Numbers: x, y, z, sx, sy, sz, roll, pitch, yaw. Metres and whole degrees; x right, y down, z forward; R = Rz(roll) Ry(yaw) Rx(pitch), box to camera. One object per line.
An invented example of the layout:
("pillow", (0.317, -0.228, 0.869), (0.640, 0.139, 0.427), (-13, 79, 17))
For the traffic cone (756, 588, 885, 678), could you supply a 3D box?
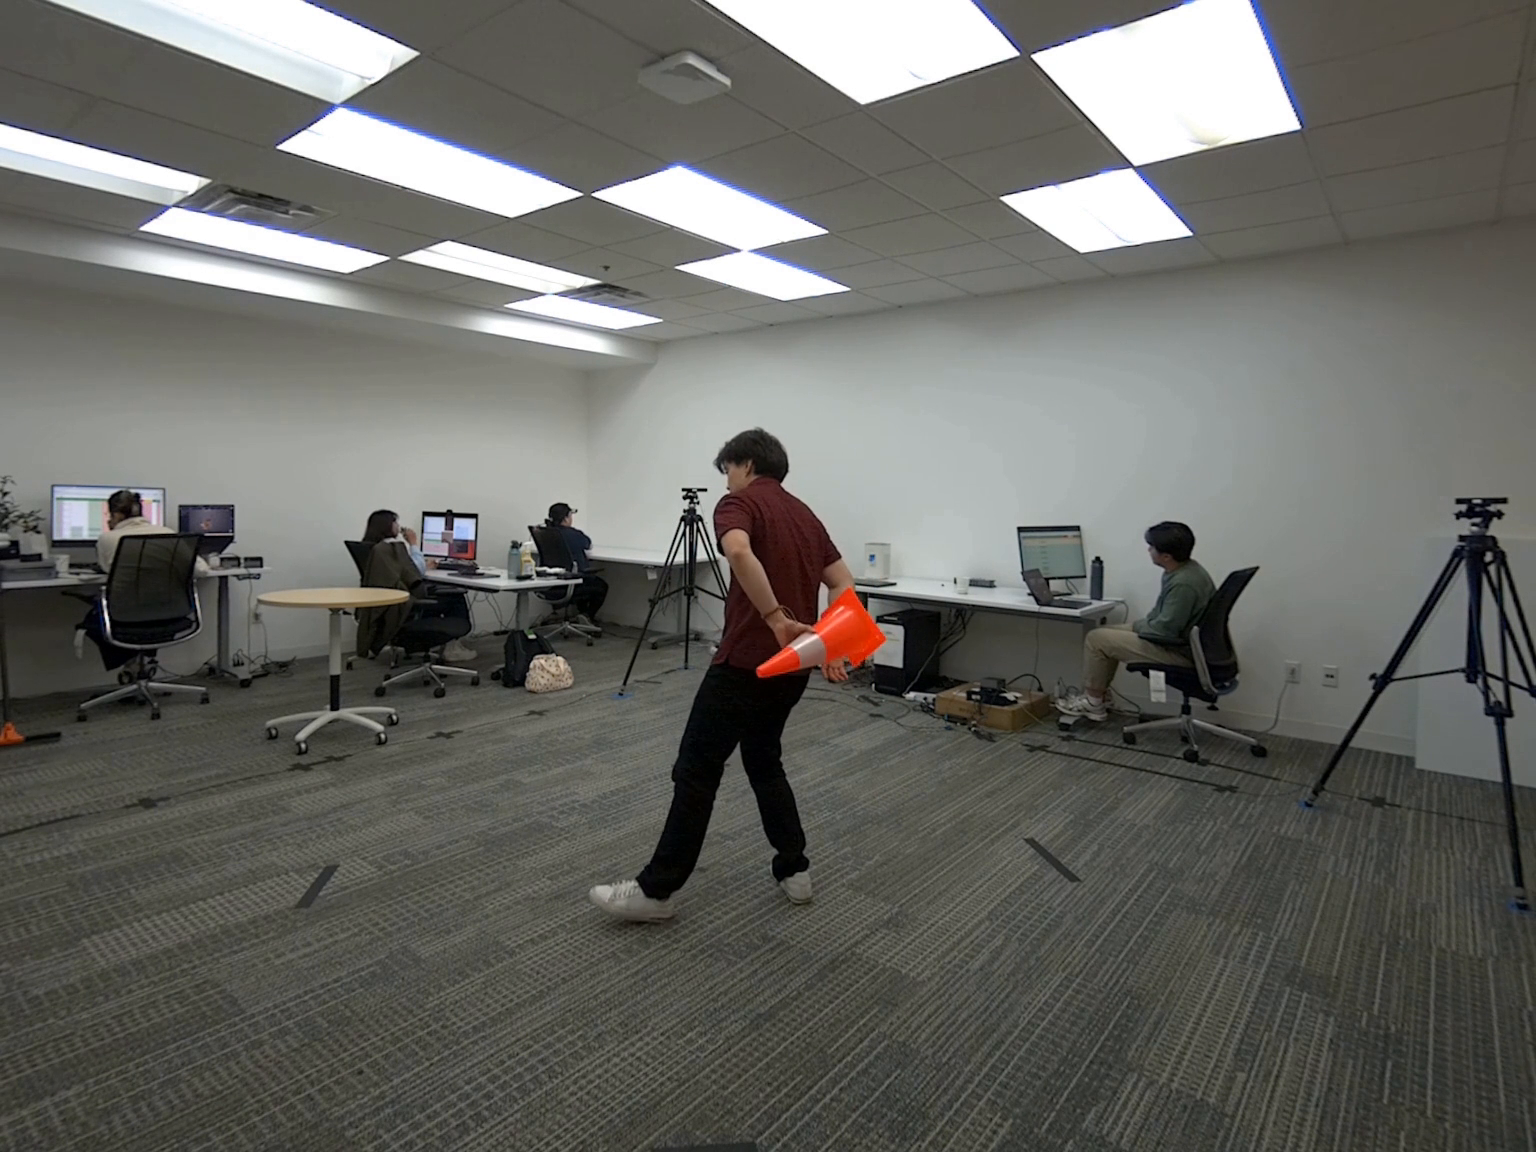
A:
("traffic cone", (0.101, 0.210, 2.523), (0.377, 0.208, 0.204), (-21, -19, -34))
